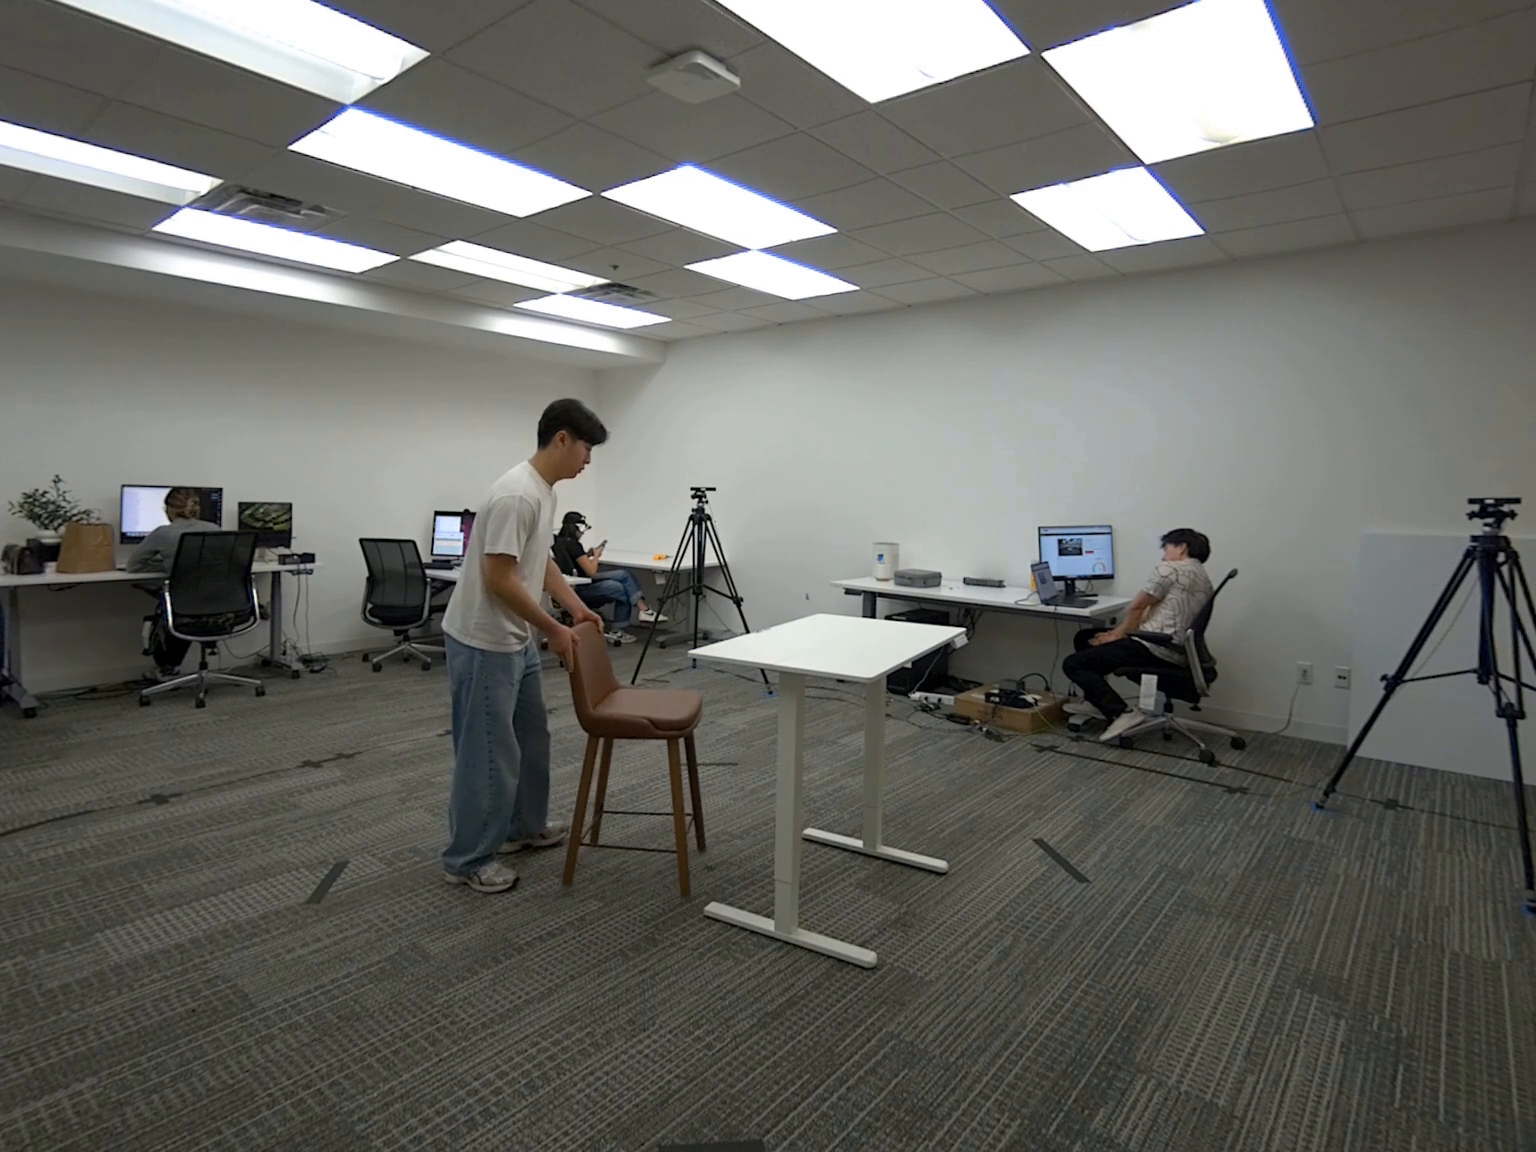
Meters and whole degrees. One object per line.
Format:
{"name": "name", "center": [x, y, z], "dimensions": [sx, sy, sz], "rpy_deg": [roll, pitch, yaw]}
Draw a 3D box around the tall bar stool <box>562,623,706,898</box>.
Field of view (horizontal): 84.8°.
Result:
{"name": "tall bar stool", "center": [-0.483, 0.629, 3.080], "dimensions": [0.471, 0.887, 0.454], "rpy_deg": [-1, 3, 7]}
